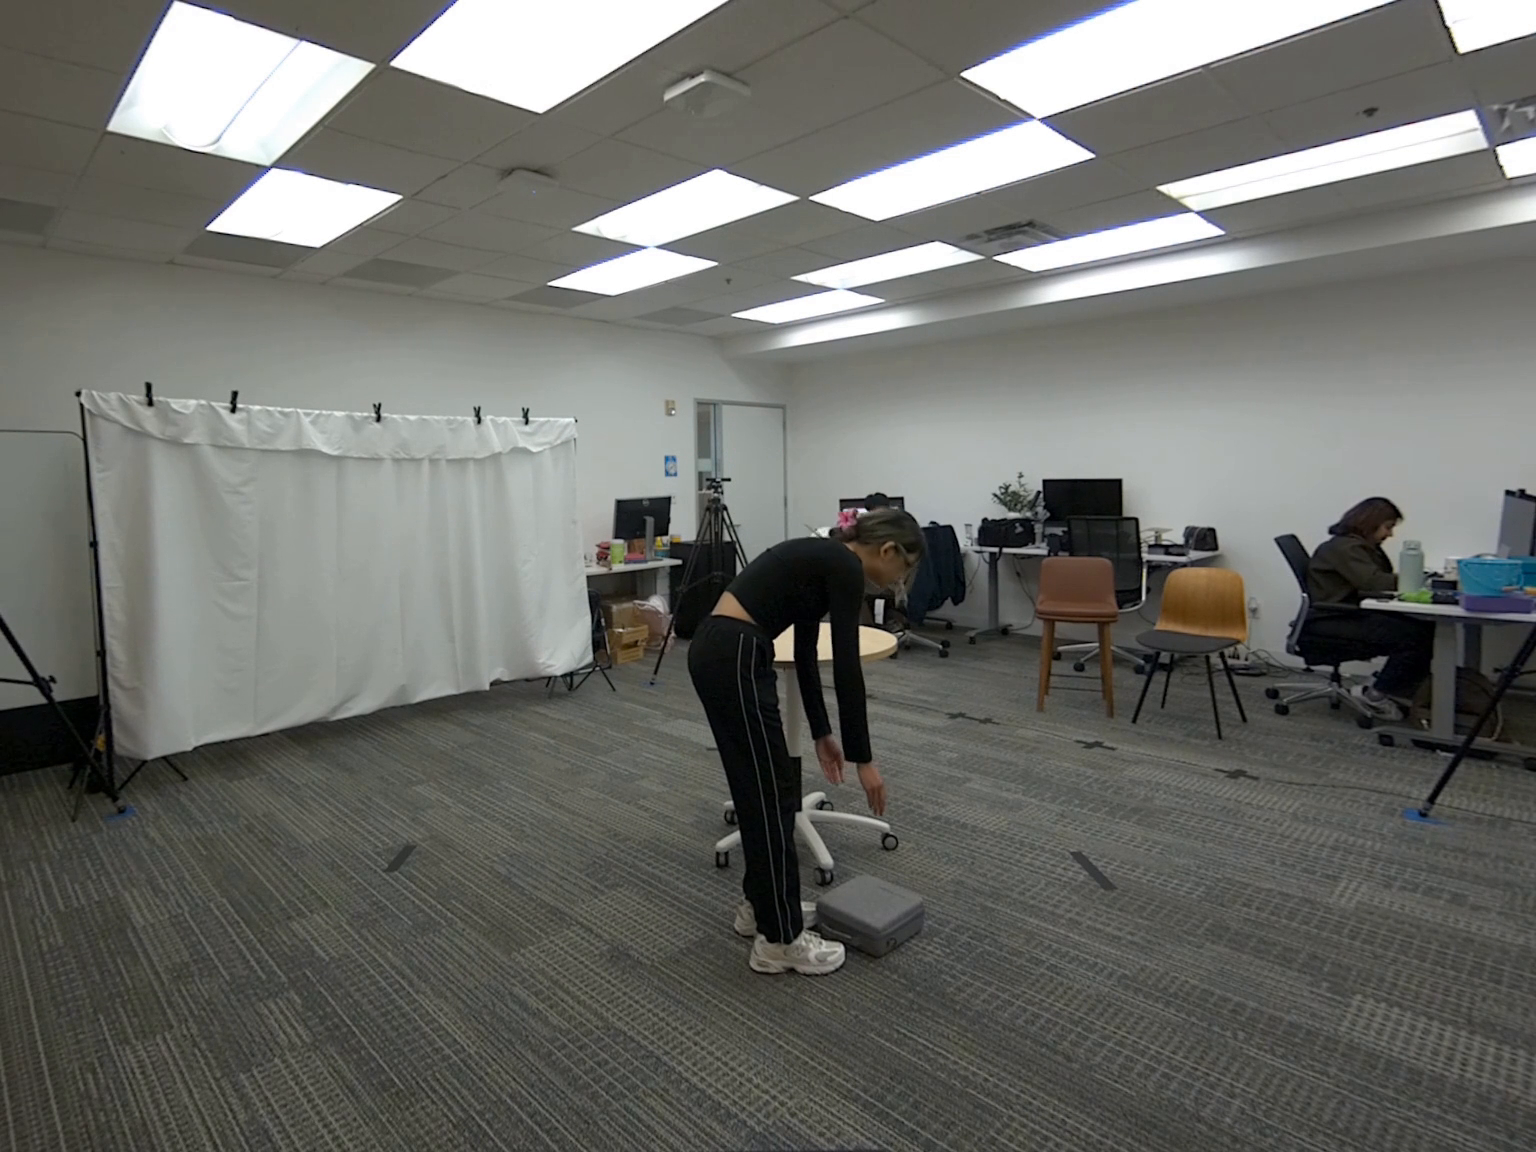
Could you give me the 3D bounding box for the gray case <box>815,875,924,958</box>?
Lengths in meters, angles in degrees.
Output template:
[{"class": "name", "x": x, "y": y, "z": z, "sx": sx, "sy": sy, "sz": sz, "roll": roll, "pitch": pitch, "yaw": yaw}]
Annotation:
[{"class": "gray case", "x": 0.314, "y": 1.033, "z": 2.629, "sx": 0.254, "sy": 0.104, "sz": 0.265, "roll": -9, "pitch": 10, "yaw": -43}]
